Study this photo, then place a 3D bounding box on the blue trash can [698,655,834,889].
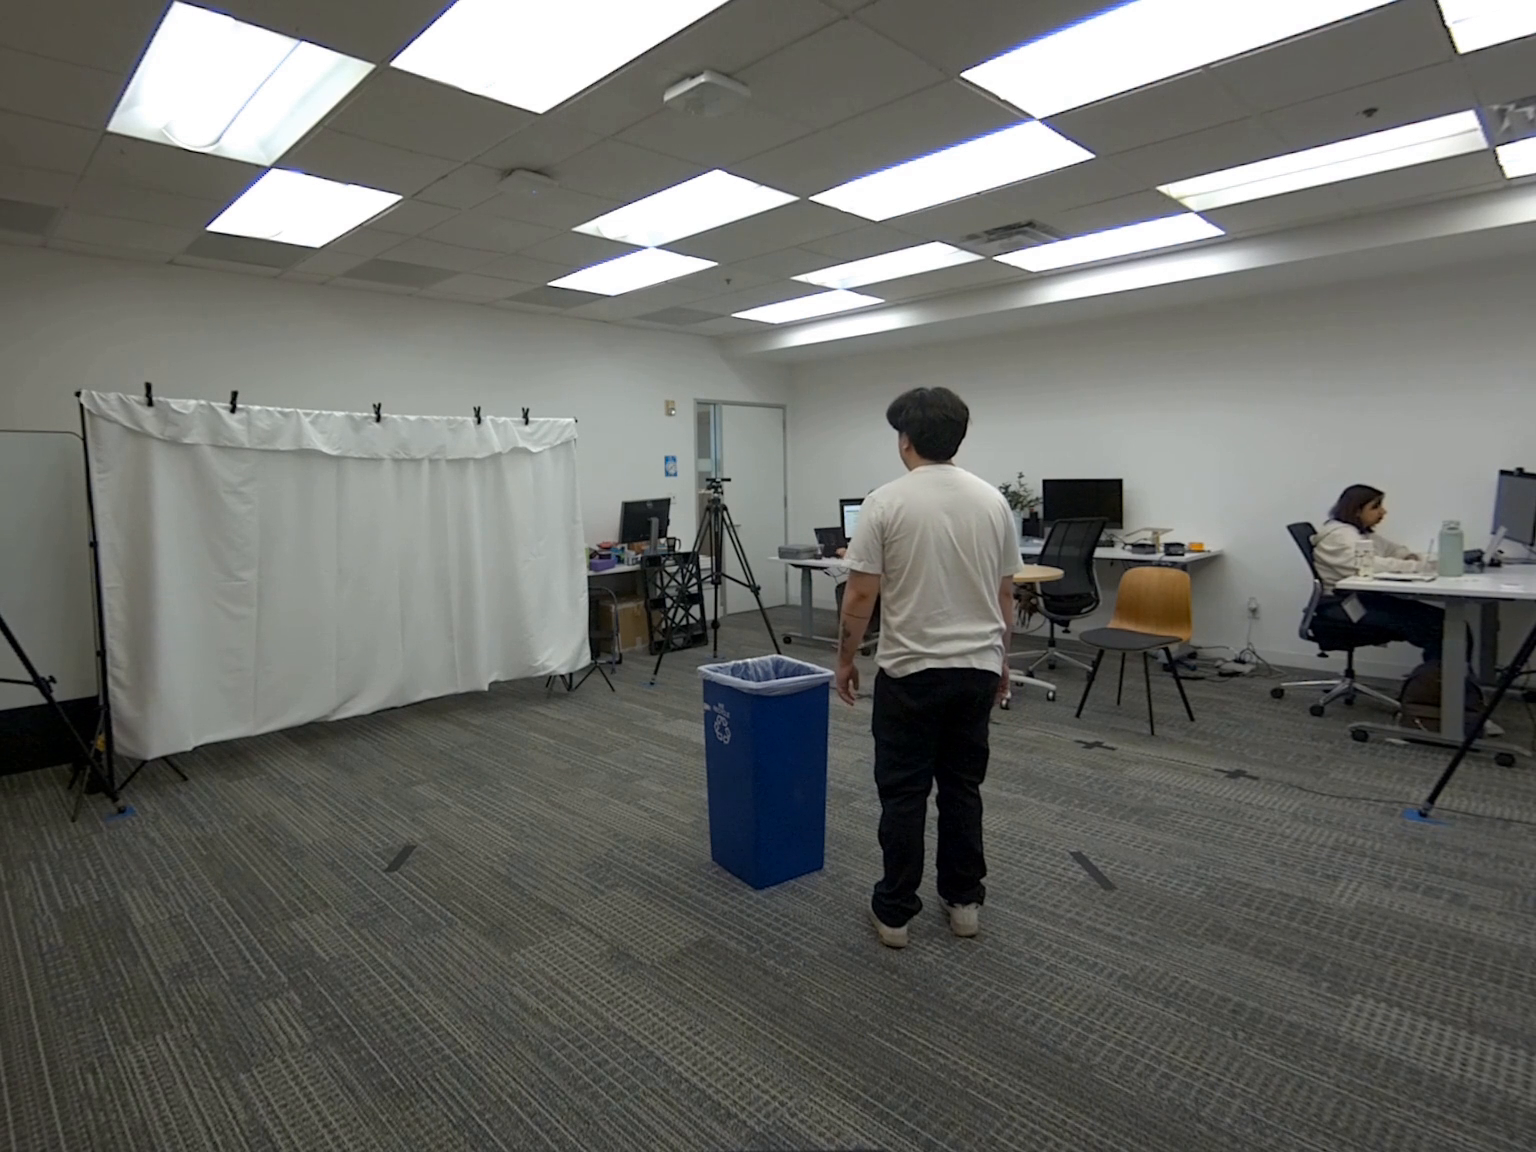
[{"bbox_3d":[-0.001,0.687,3.071,0.368,0.711,0.385,-4,5,-35],"label":"blue trash can"}]
